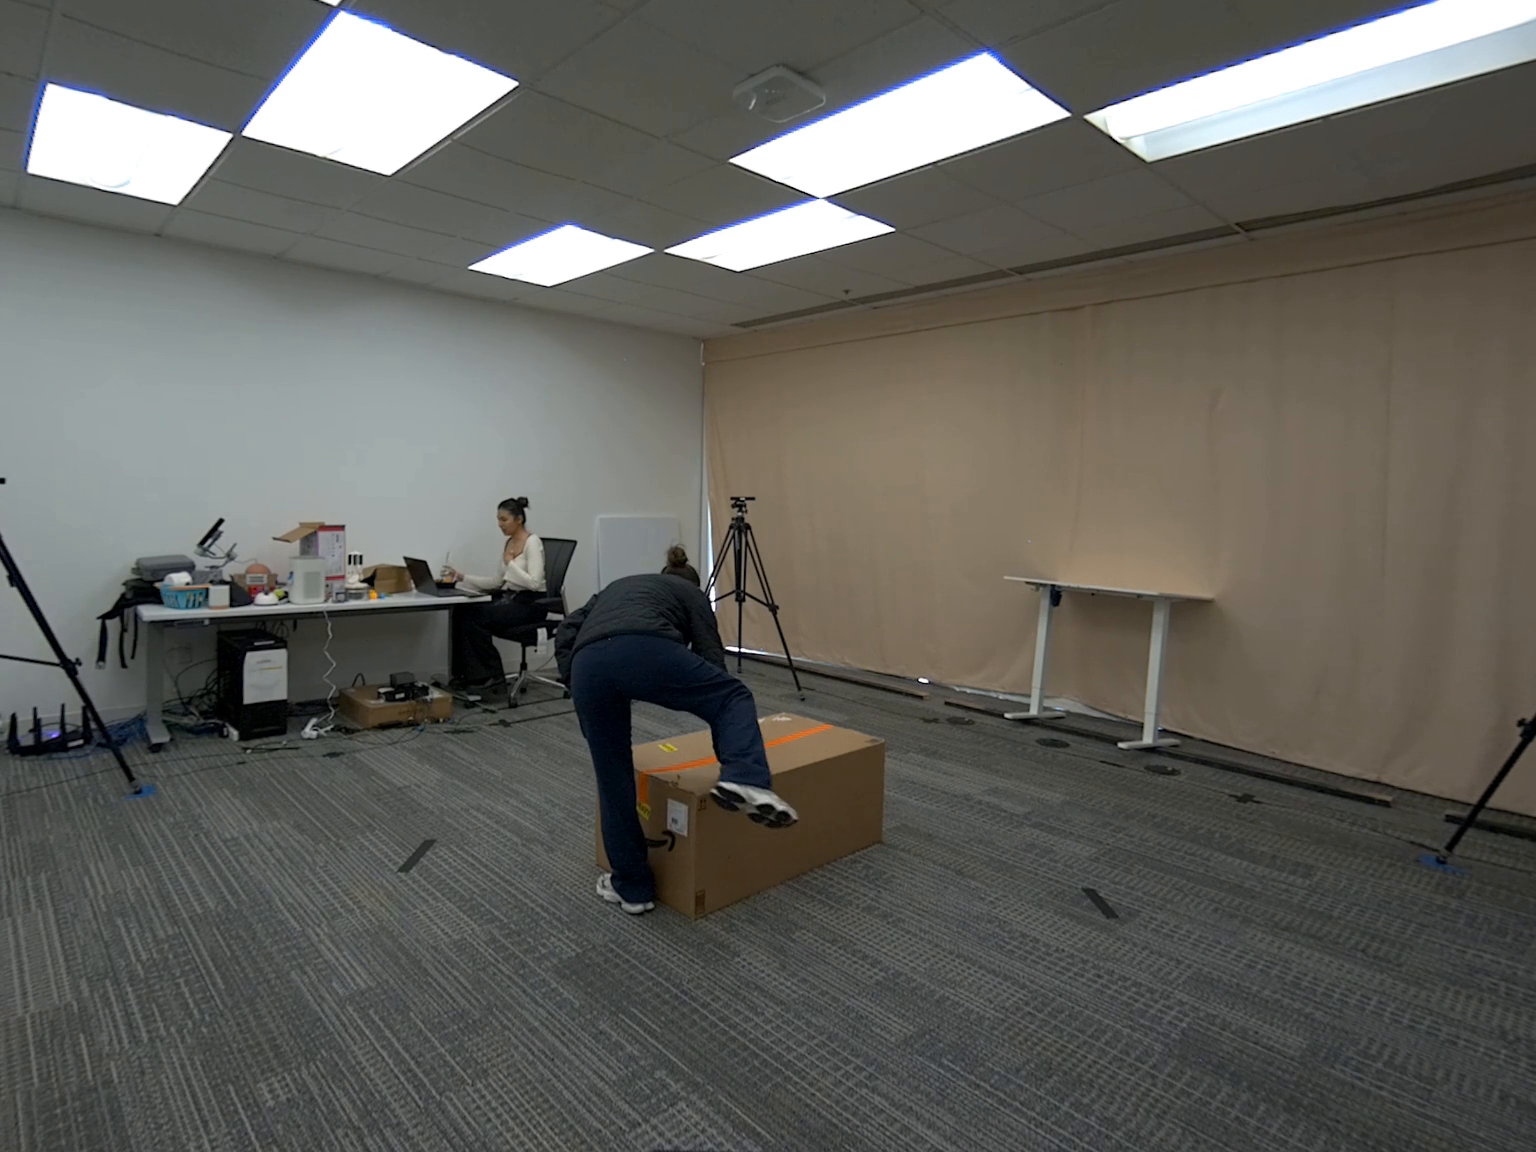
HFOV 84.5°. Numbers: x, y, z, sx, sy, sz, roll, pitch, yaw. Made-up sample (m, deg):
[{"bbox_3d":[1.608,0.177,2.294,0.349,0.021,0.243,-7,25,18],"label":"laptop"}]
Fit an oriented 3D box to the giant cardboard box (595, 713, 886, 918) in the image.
[{"bbox_3d":[-0.090,0.884,3.295,1.003,0.445,0.599,-2,7,-44],"label":"giant cardboard box"}]
